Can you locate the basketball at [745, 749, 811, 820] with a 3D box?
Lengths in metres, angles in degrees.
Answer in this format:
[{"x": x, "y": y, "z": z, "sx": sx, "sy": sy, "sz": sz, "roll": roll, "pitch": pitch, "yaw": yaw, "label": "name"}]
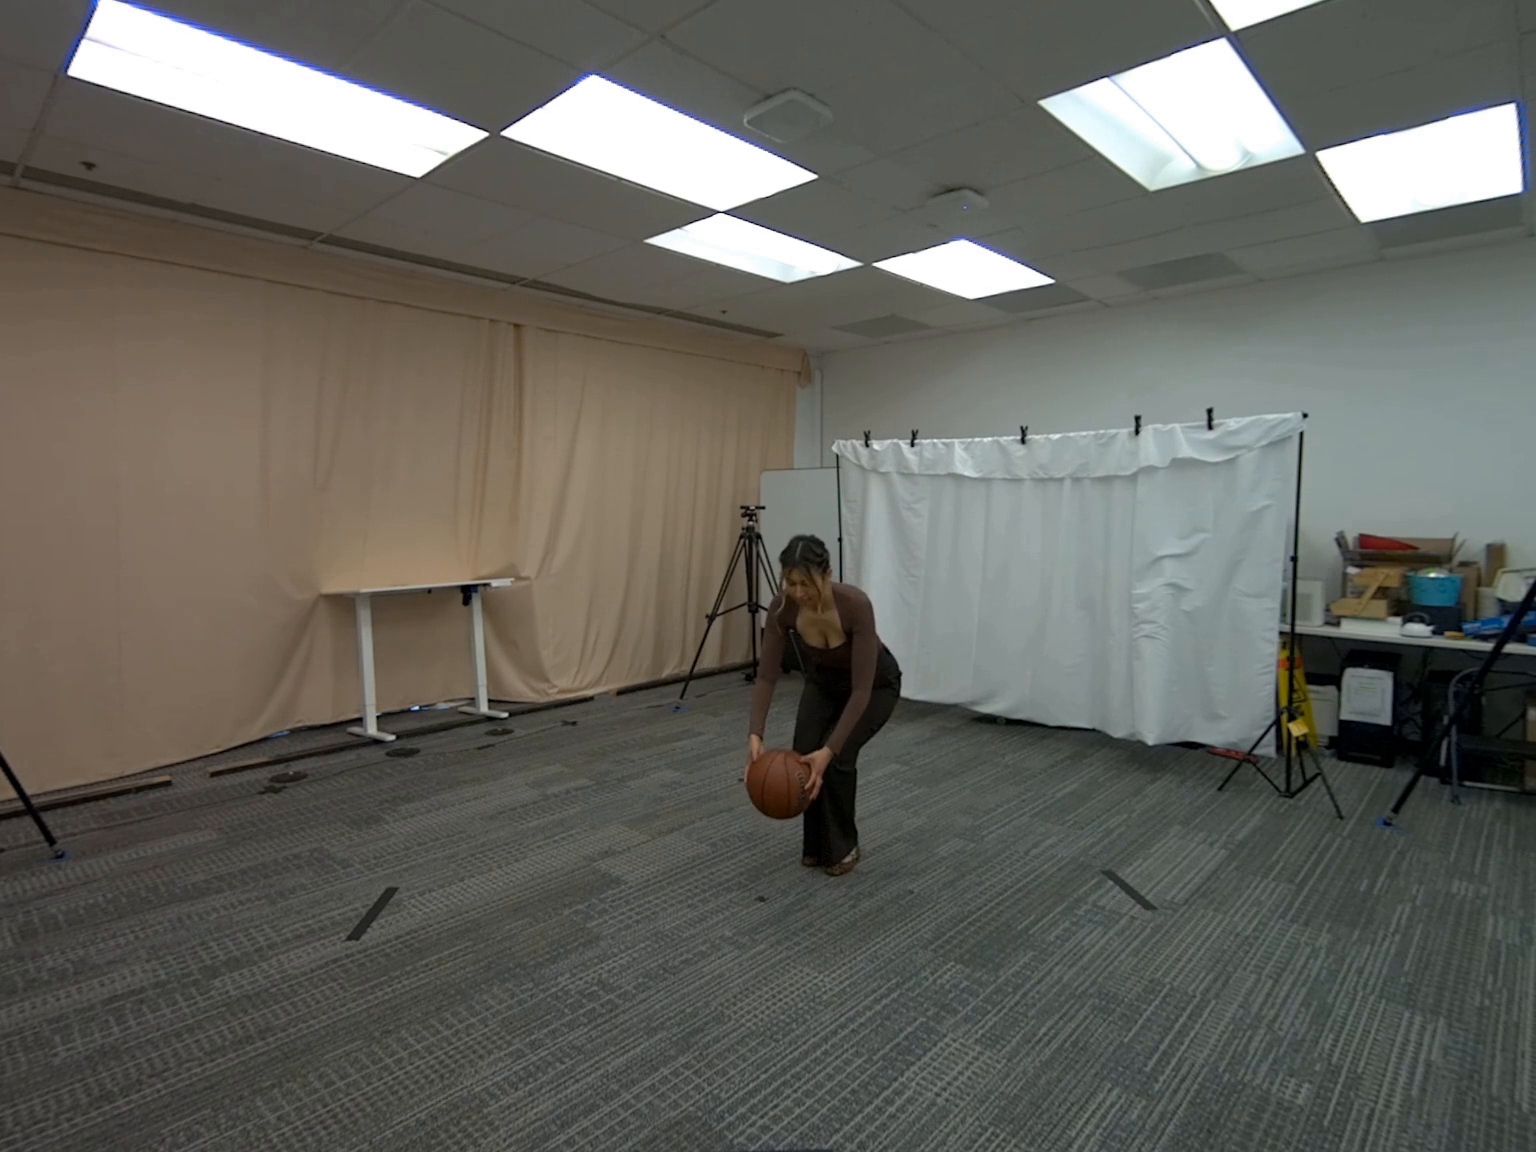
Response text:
[{"x": 0.049, "y": 0.708, "z": 2.909, "sx": 0.236, "sy": 0.235, "sz": 0.237, "roll": 0, "pitch": 4, "yaw": -2, "label": "basketball"}]
